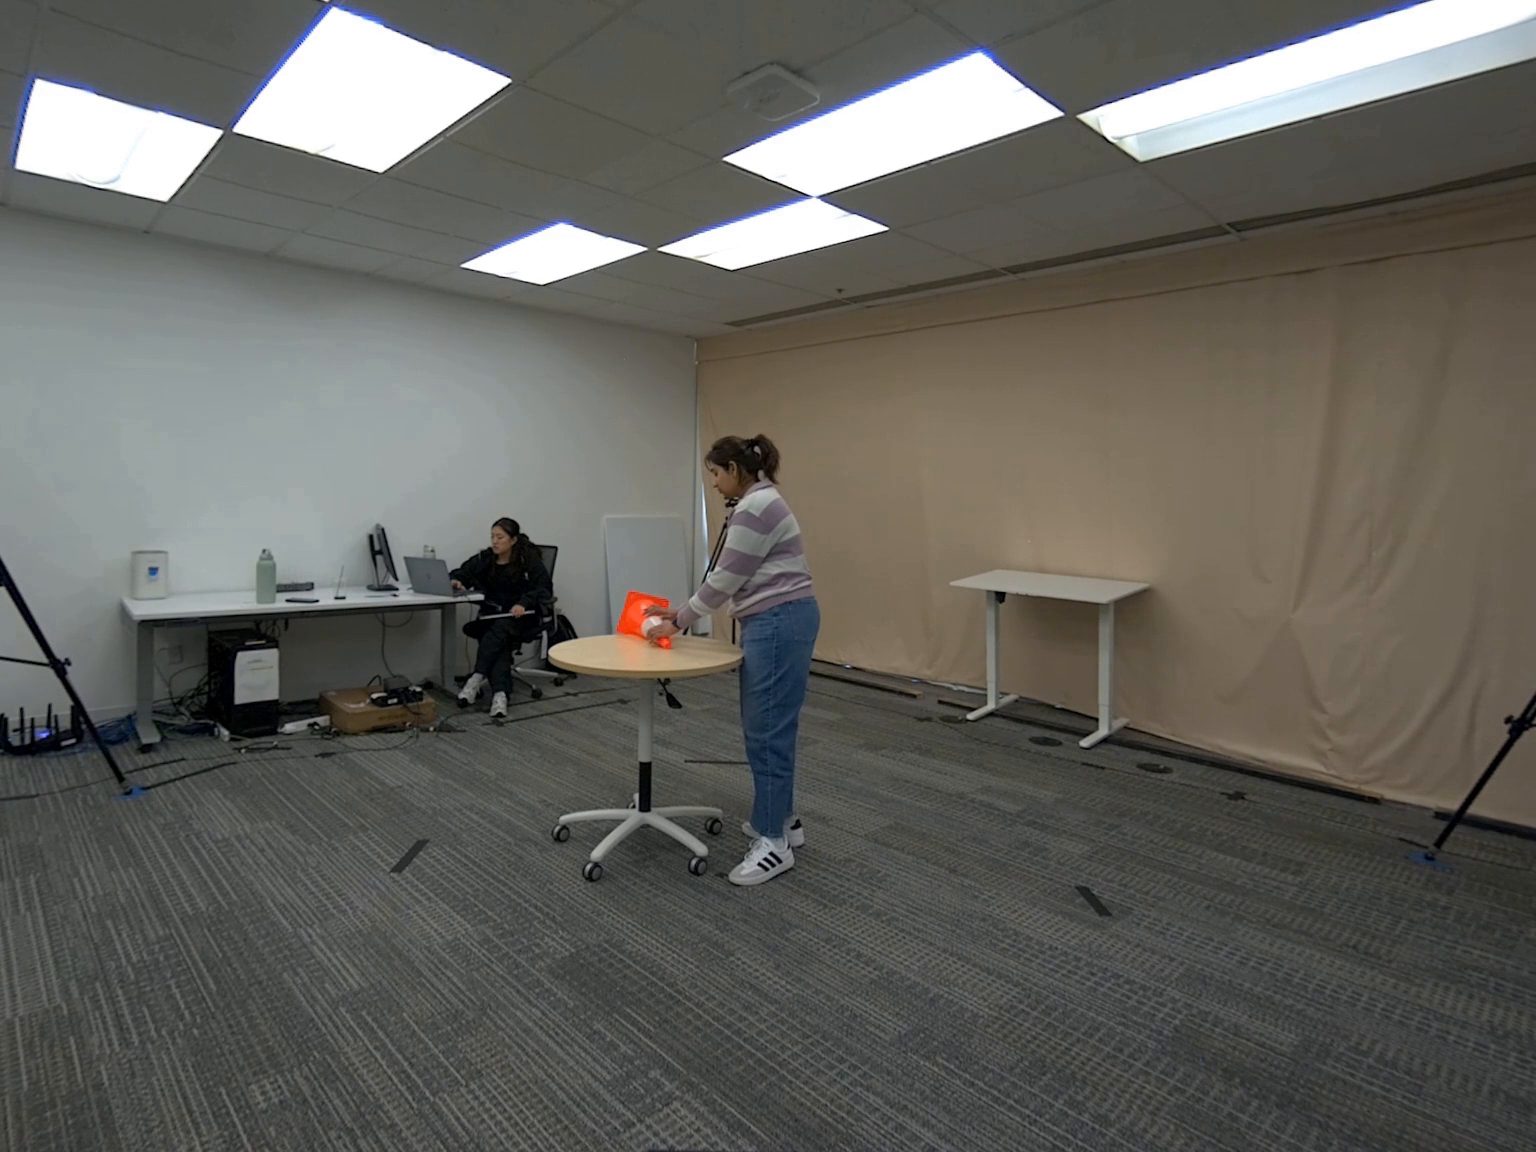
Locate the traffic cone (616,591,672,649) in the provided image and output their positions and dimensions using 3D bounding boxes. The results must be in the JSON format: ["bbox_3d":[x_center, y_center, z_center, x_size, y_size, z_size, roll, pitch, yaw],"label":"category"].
[{"bbox_3d":[-0.482,0.224,3.509,0.201,0.202,0.393,16,8,-25],"label":"traffic cone"}]
